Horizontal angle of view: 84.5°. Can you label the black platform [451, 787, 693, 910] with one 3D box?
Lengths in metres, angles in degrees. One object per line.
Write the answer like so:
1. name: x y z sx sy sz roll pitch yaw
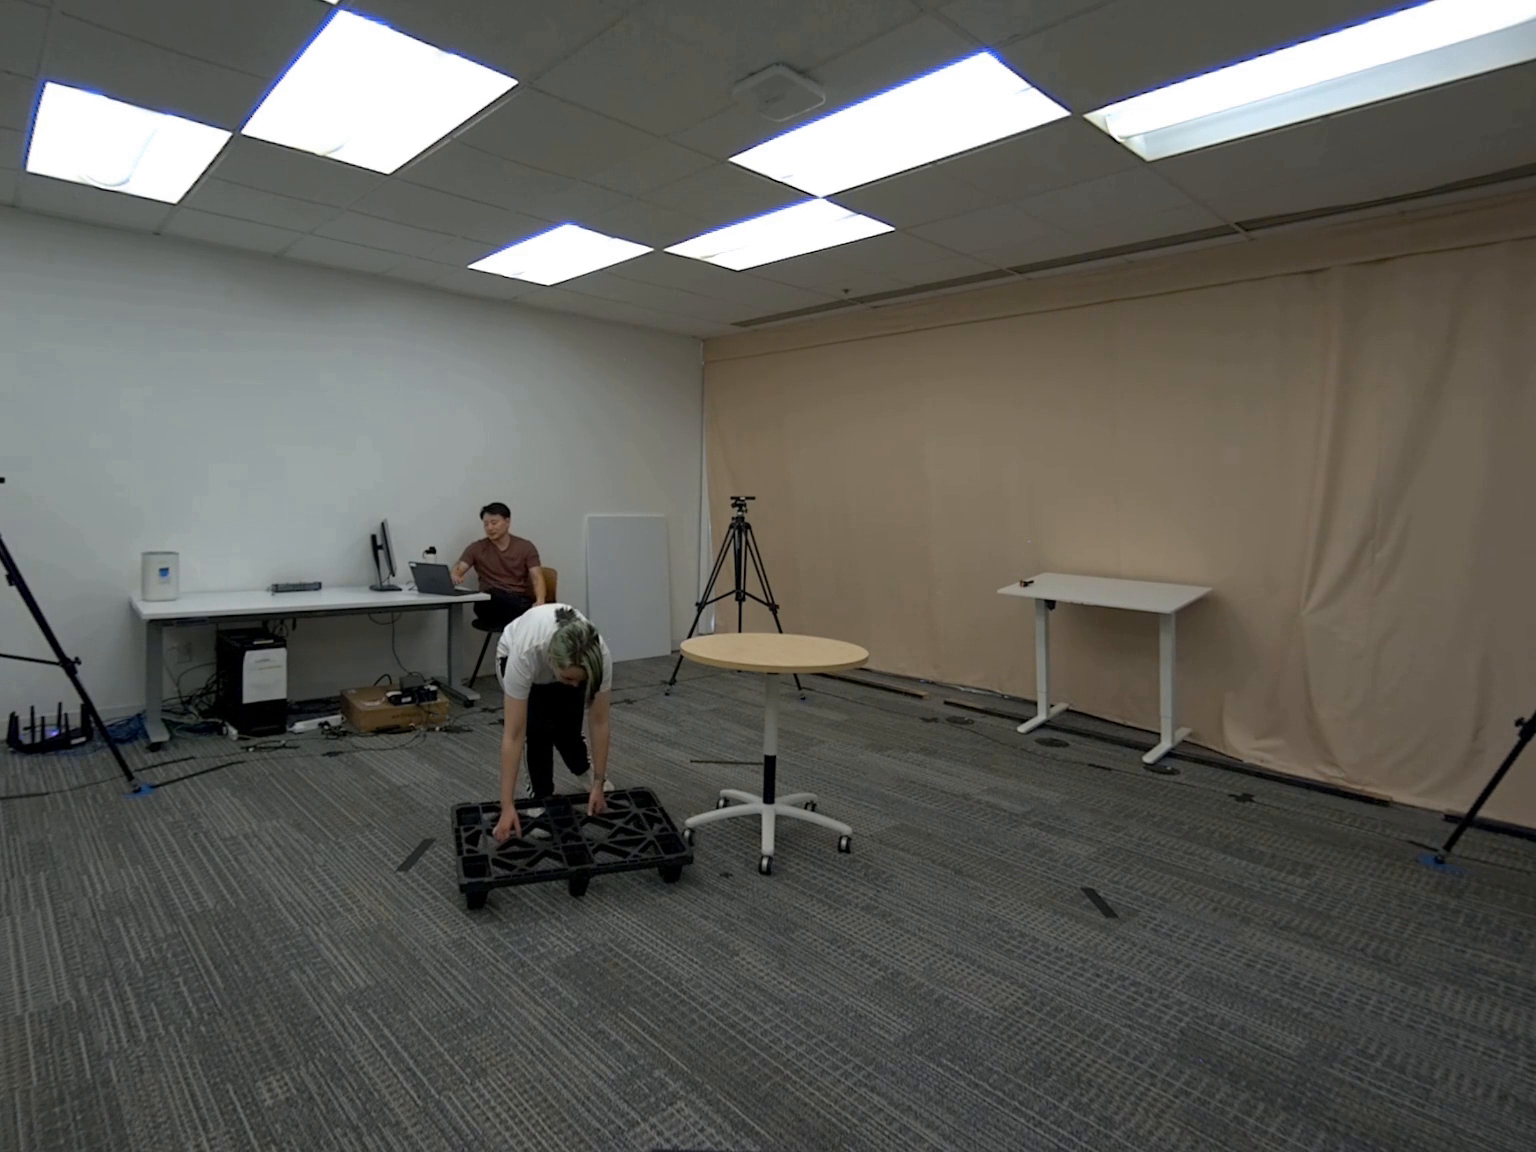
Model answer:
1. black platform: -0.759 0.997 3.121 0.792 0.142 0.618 0 9 -22
